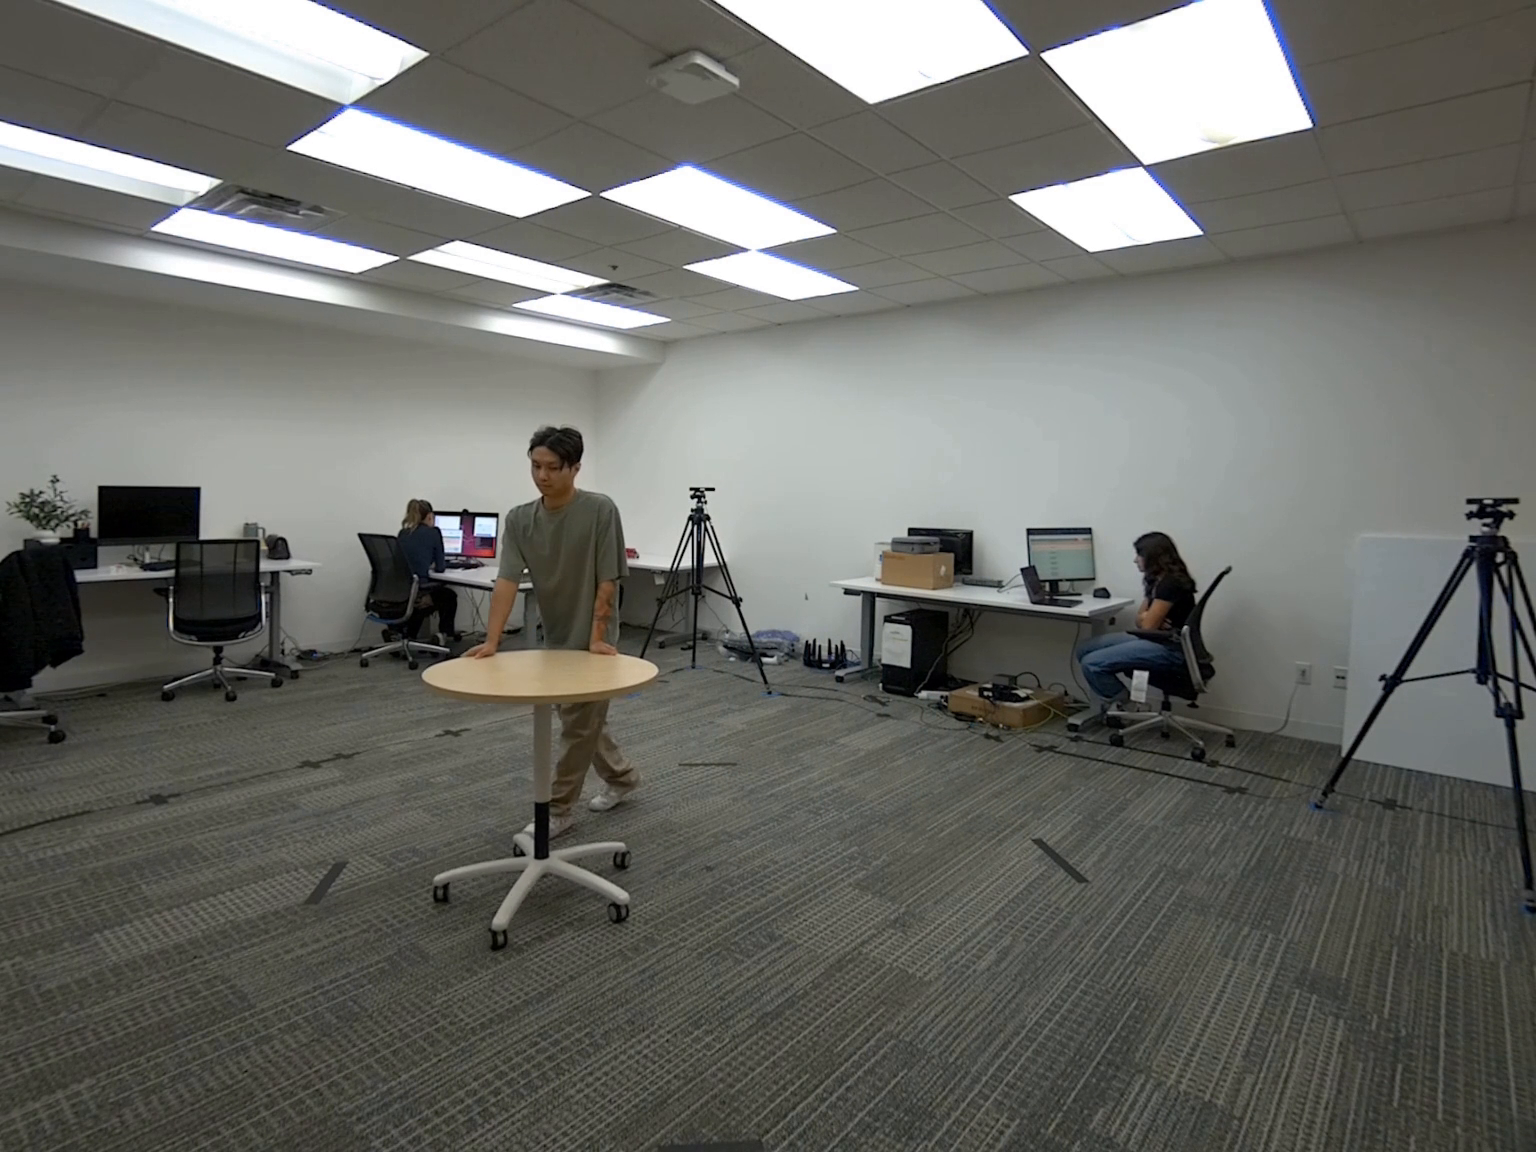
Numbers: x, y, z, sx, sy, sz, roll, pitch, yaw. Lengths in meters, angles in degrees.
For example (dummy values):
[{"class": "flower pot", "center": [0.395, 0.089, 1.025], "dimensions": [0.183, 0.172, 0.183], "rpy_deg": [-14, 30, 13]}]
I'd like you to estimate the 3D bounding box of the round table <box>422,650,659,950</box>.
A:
[{"class": "round table", "center": [-0.772, 0.694, 2.837], "dimensions": [0.784, 0.784, 0.788], "rpy_deg": [1, 3, -2]}]
